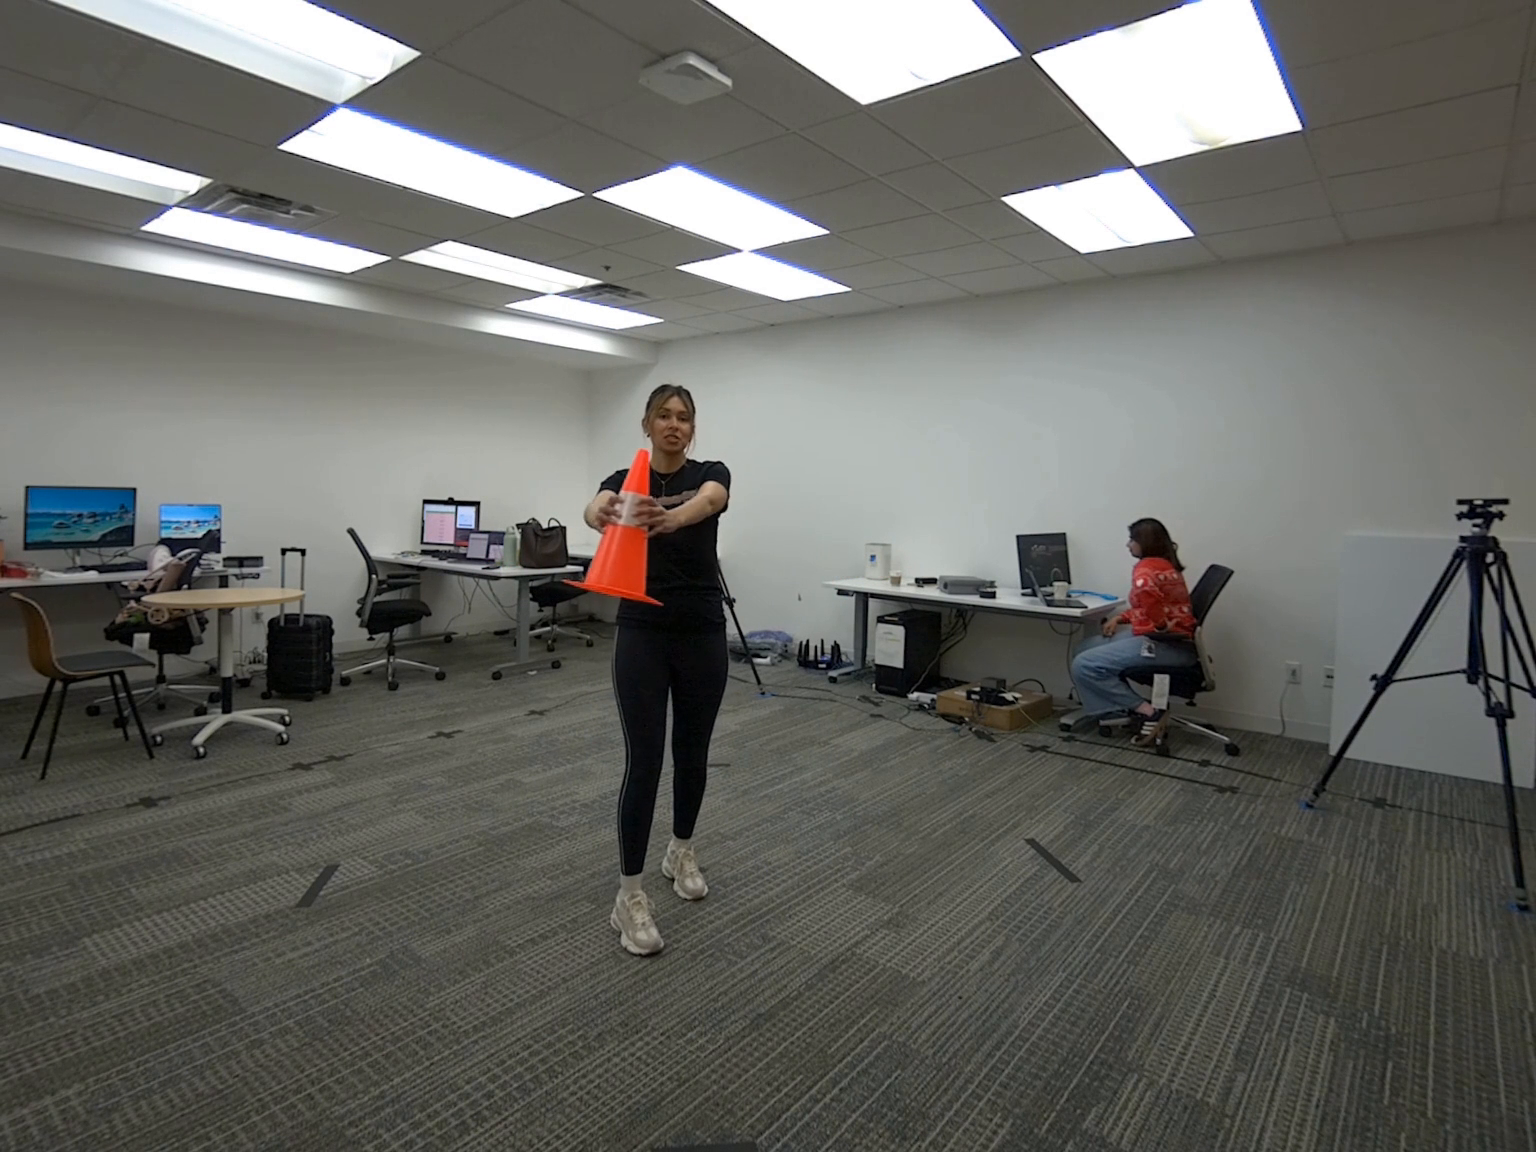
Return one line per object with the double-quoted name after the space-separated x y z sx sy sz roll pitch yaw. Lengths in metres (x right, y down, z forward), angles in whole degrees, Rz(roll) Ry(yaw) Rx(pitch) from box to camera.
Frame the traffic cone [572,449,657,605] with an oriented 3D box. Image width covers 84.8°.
-0.361 -0.144 2.190 0.208 0.386 0.199 7 -9 20 "traffic cone"
